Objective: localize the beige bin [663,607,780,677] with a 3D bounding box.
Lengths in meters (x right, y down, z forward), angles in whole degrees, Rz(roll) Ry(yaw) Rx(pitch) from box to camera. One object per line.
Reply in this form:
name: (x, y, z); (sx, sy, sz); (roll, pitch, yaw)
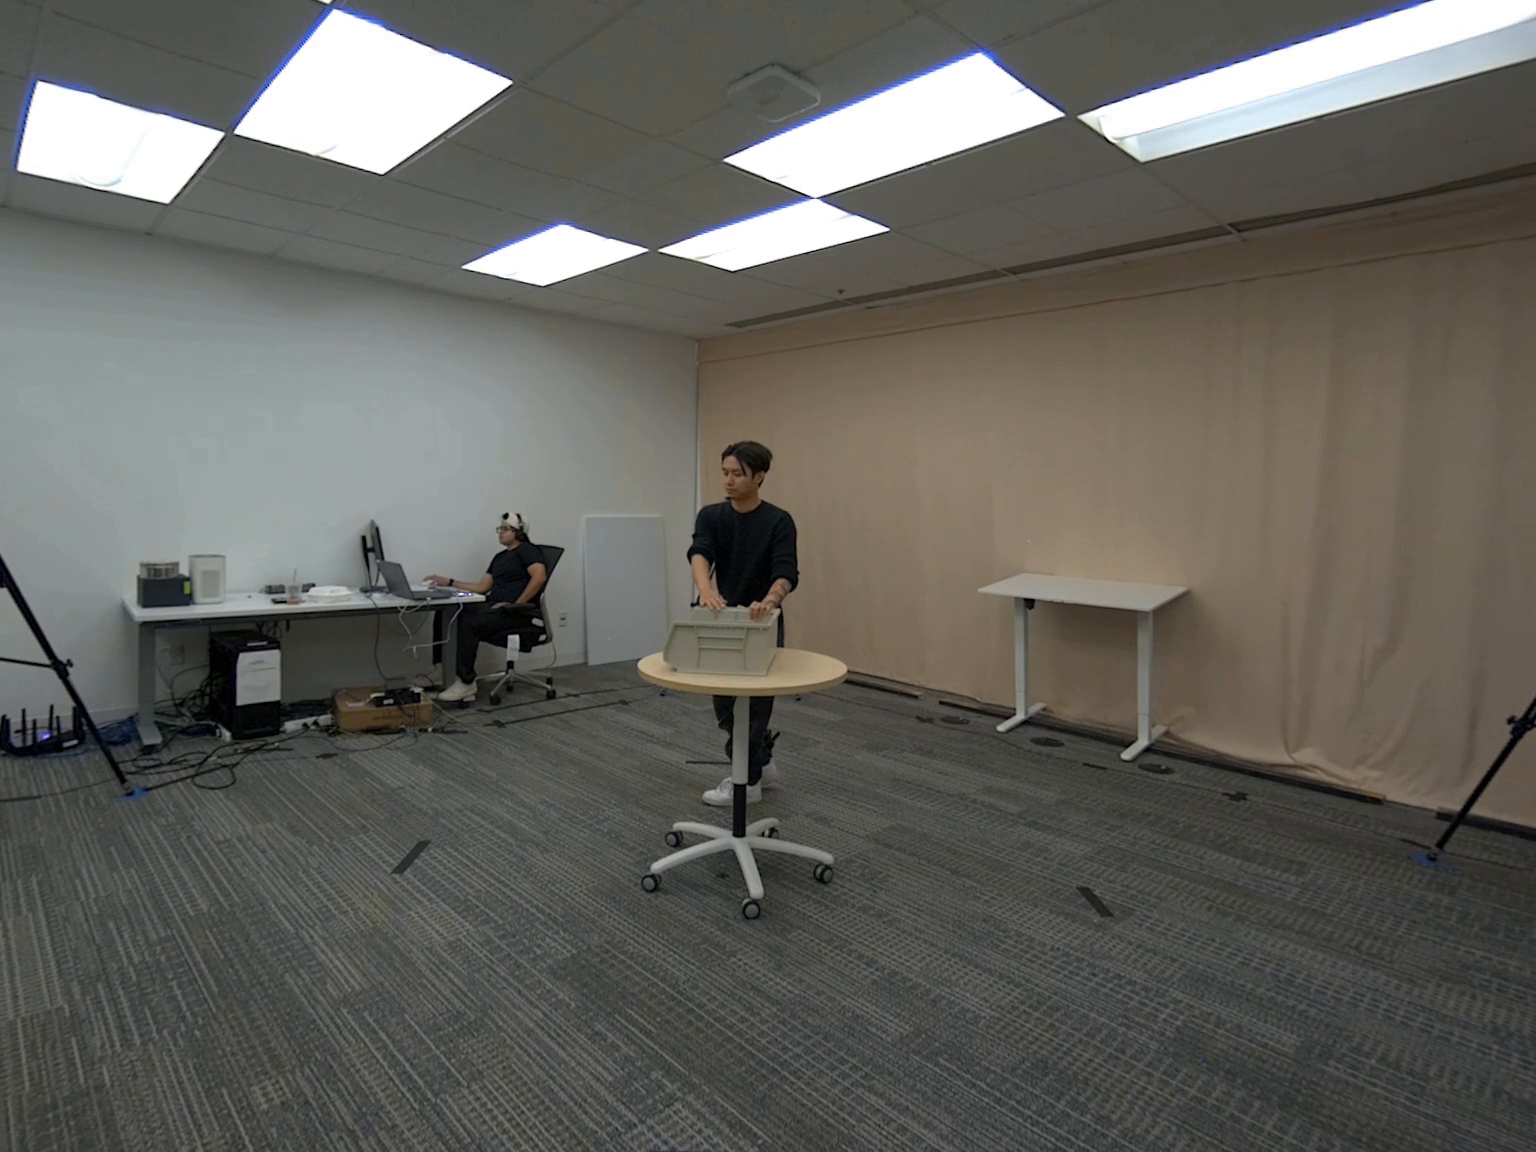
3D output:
beige bin: (-0.176, 0.240, 3.115); (0.379, 0.188, 0.421); (1, 5, 6)
